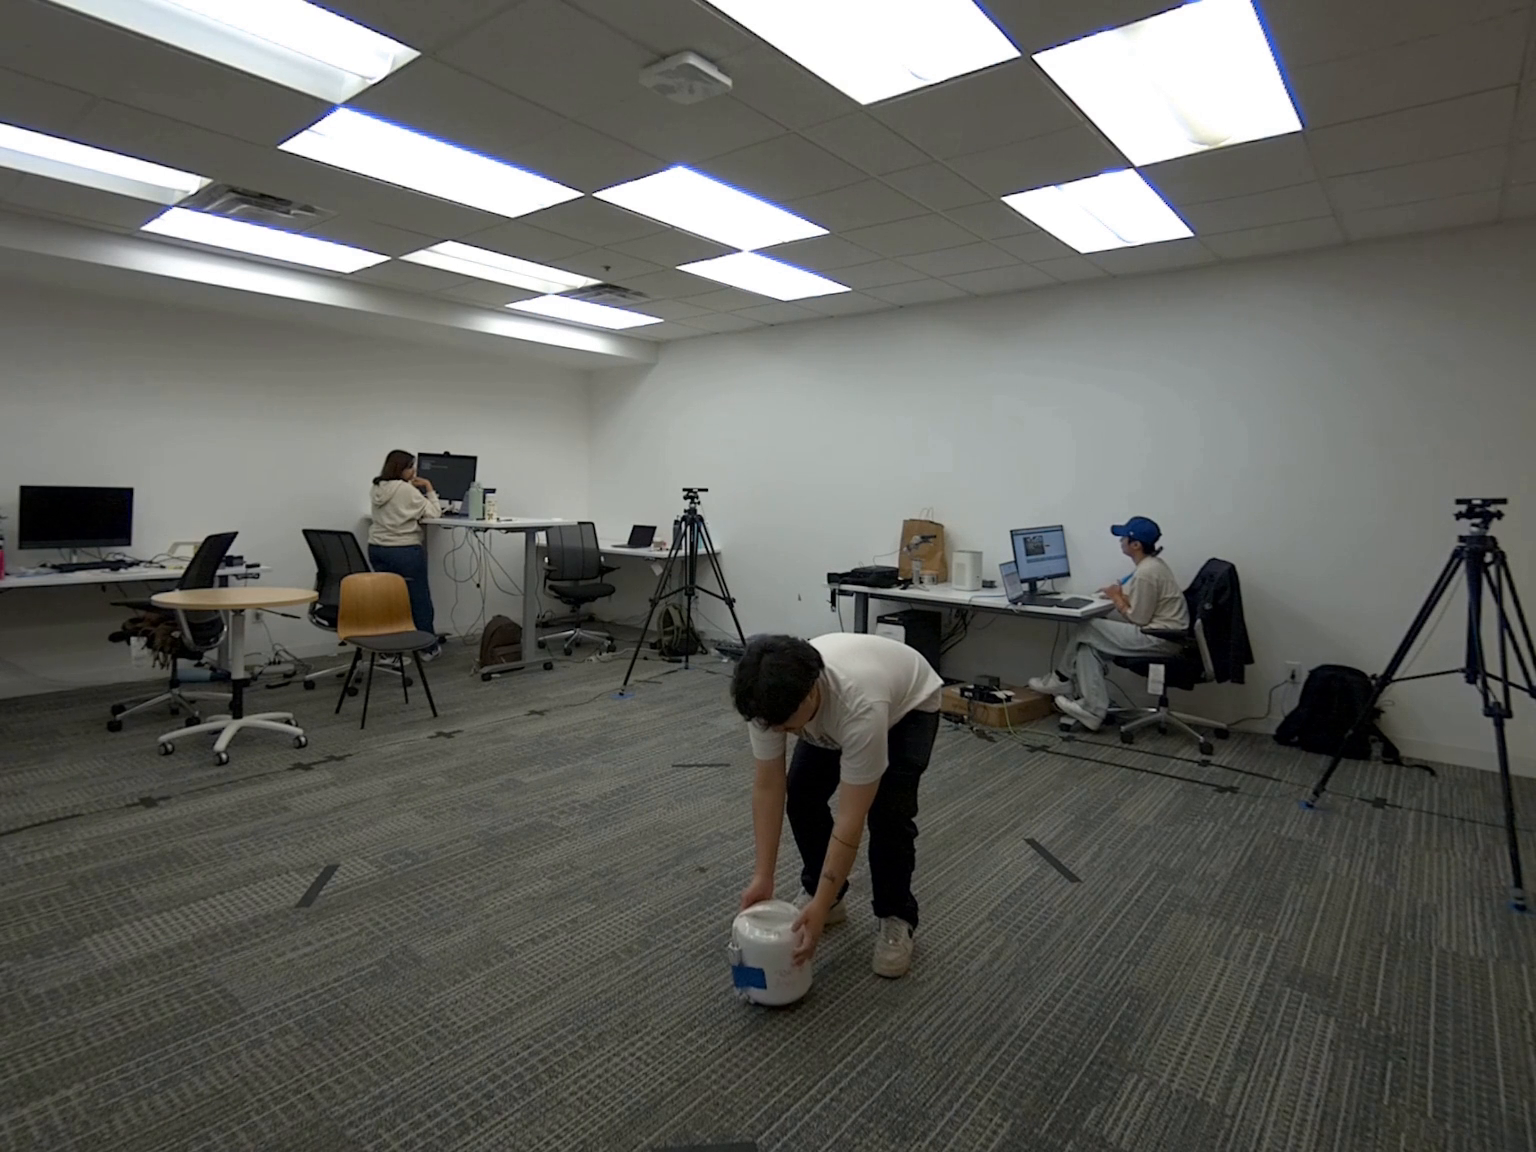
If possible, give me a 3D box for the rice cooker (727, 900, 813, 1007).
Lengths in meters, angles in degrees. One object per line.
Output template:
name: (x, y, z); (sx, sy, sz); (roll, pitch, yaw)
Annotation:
rice cooker: (0.006, 1.014, 2.344); (0.224, 0.231, 0.216); (0, 7, 12)
